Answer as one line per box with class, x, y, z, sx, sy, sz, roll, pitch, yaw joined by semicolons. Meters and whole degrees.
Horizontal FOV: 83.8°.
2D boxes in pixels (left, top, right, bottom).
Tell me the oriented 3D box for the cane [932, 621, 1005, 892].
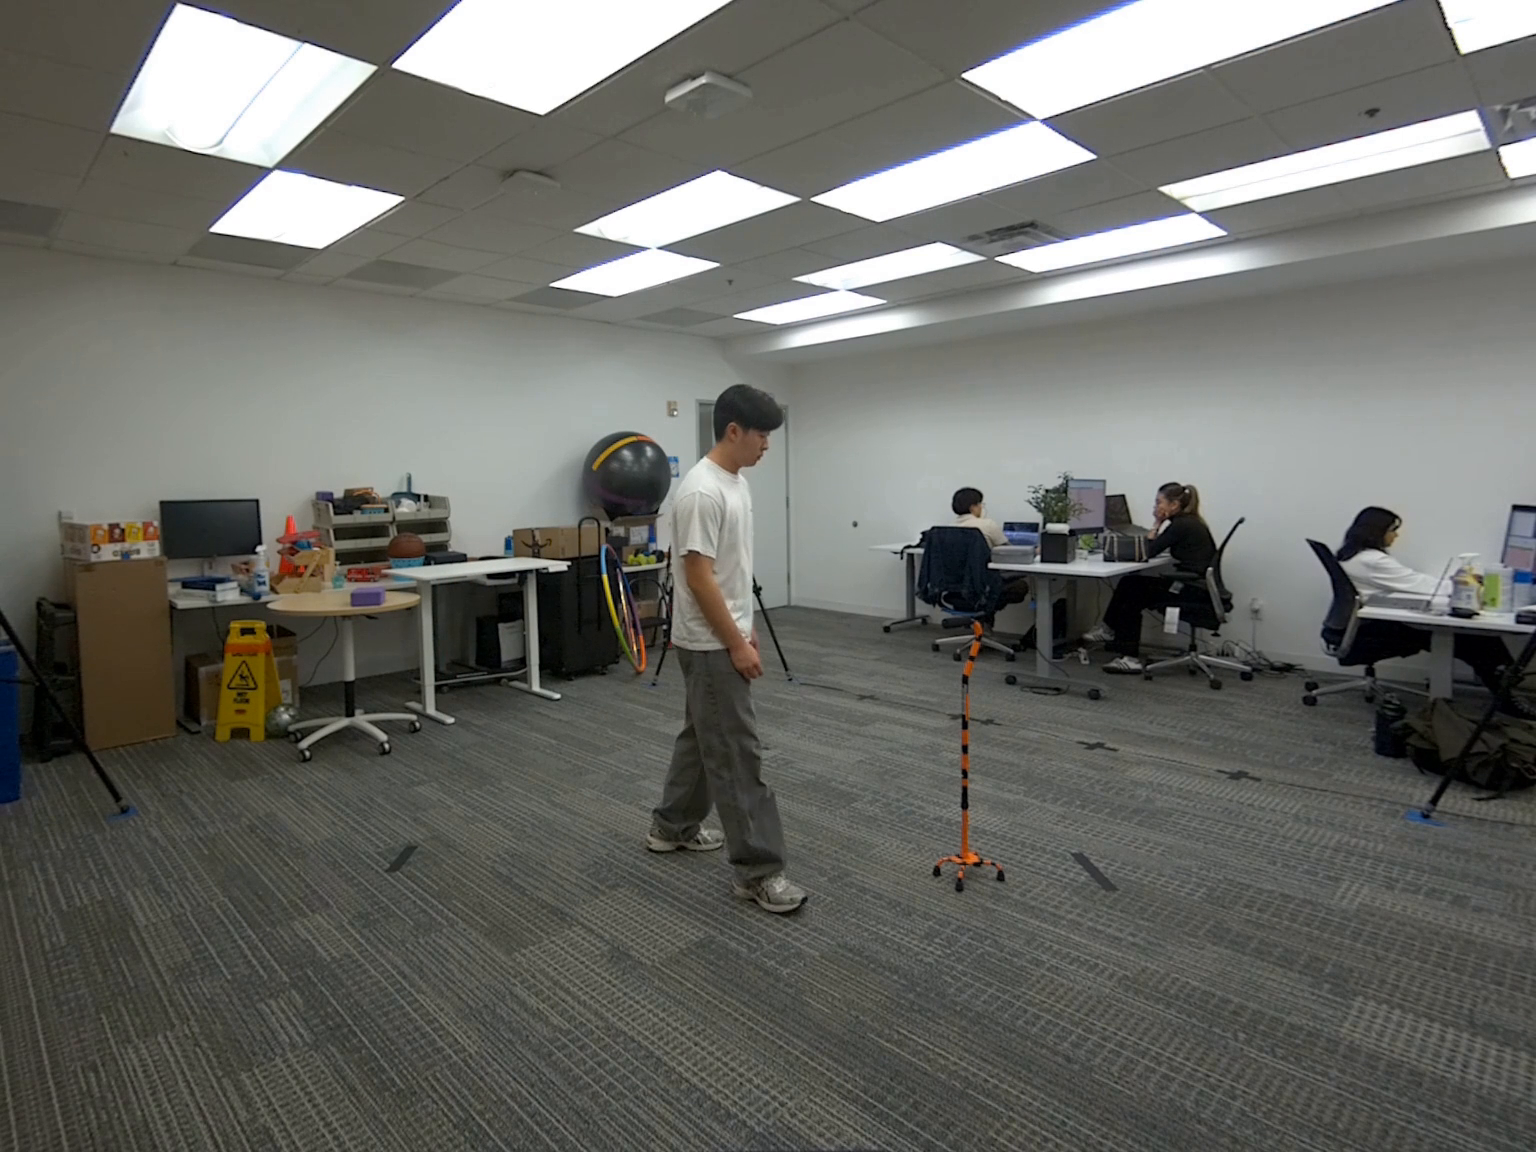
cane;0.701;0.599;2.948;0.202;0.905;0.155;-1;3;-26
